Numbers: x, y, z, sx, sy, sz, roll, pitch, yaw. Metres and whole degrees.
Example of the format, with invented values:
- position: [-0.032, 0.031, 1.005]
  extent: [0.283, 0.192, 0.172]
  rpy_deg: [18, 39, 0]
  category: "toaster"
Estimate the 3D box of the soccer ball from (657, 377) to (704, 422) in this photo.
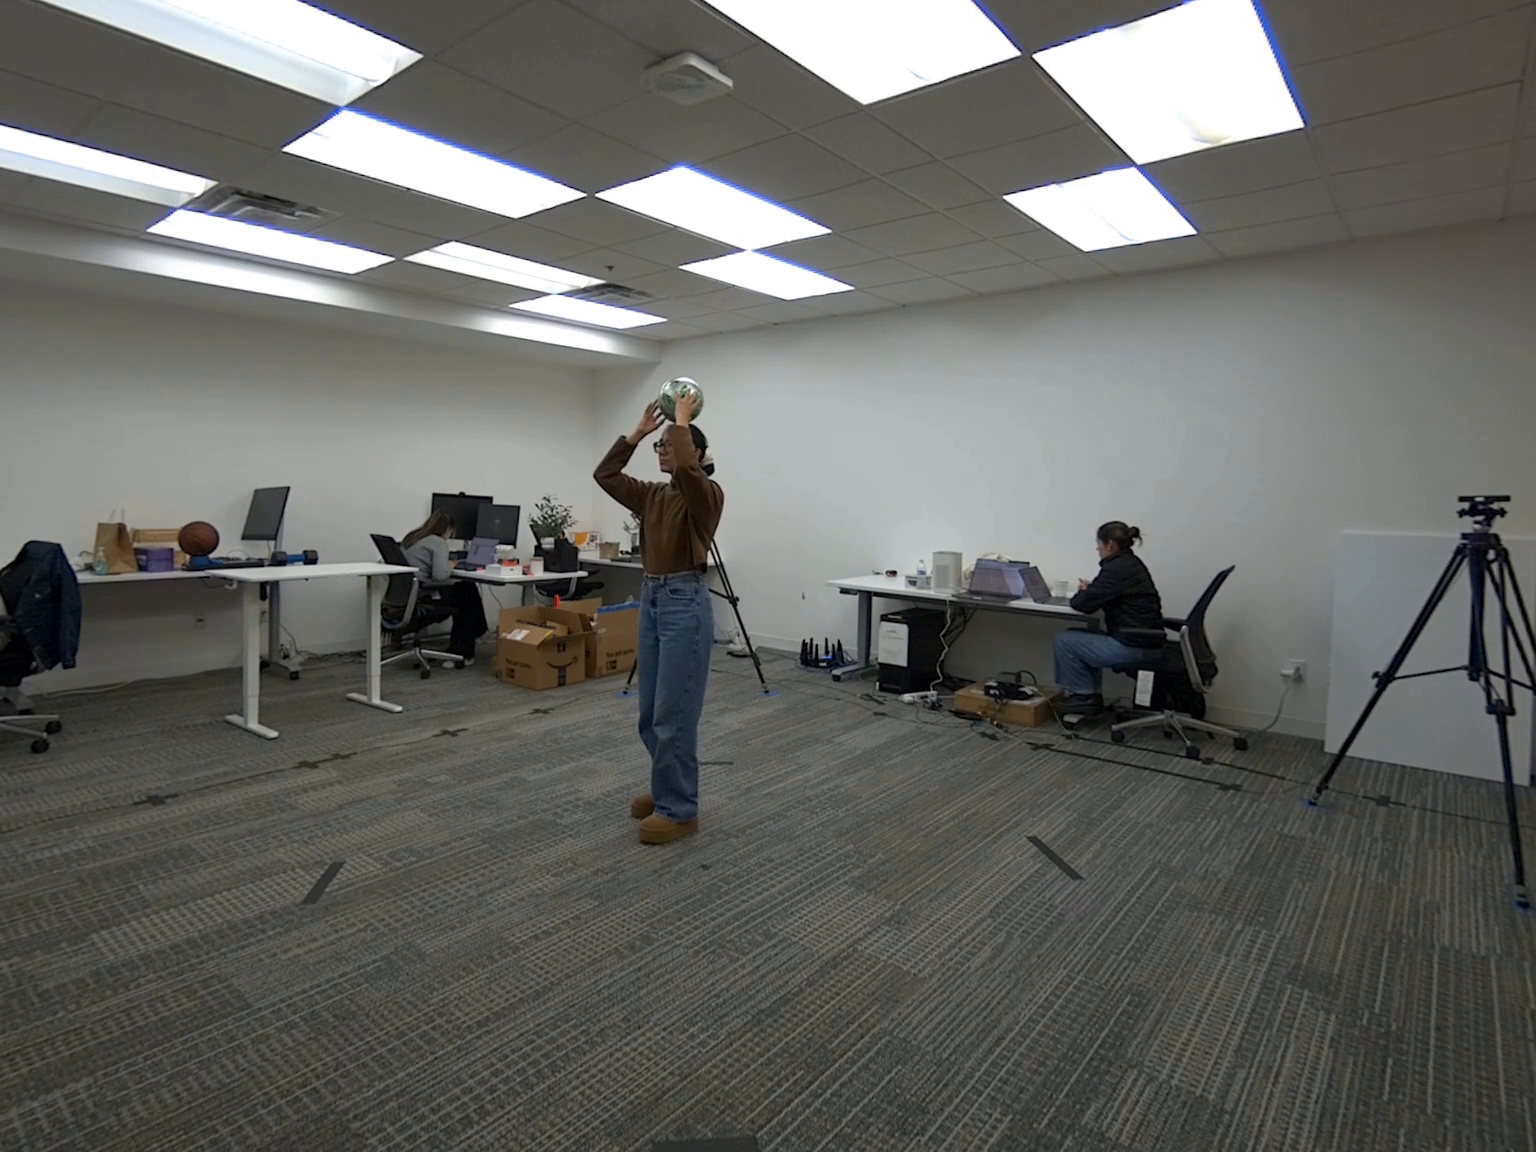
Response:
- position: [-0.369, -0.718, 3.483]
  extent: [0.187, 0.187, 0.188]
  rpy_deg: [1, 4, -2]
  category: "soccer ball"
